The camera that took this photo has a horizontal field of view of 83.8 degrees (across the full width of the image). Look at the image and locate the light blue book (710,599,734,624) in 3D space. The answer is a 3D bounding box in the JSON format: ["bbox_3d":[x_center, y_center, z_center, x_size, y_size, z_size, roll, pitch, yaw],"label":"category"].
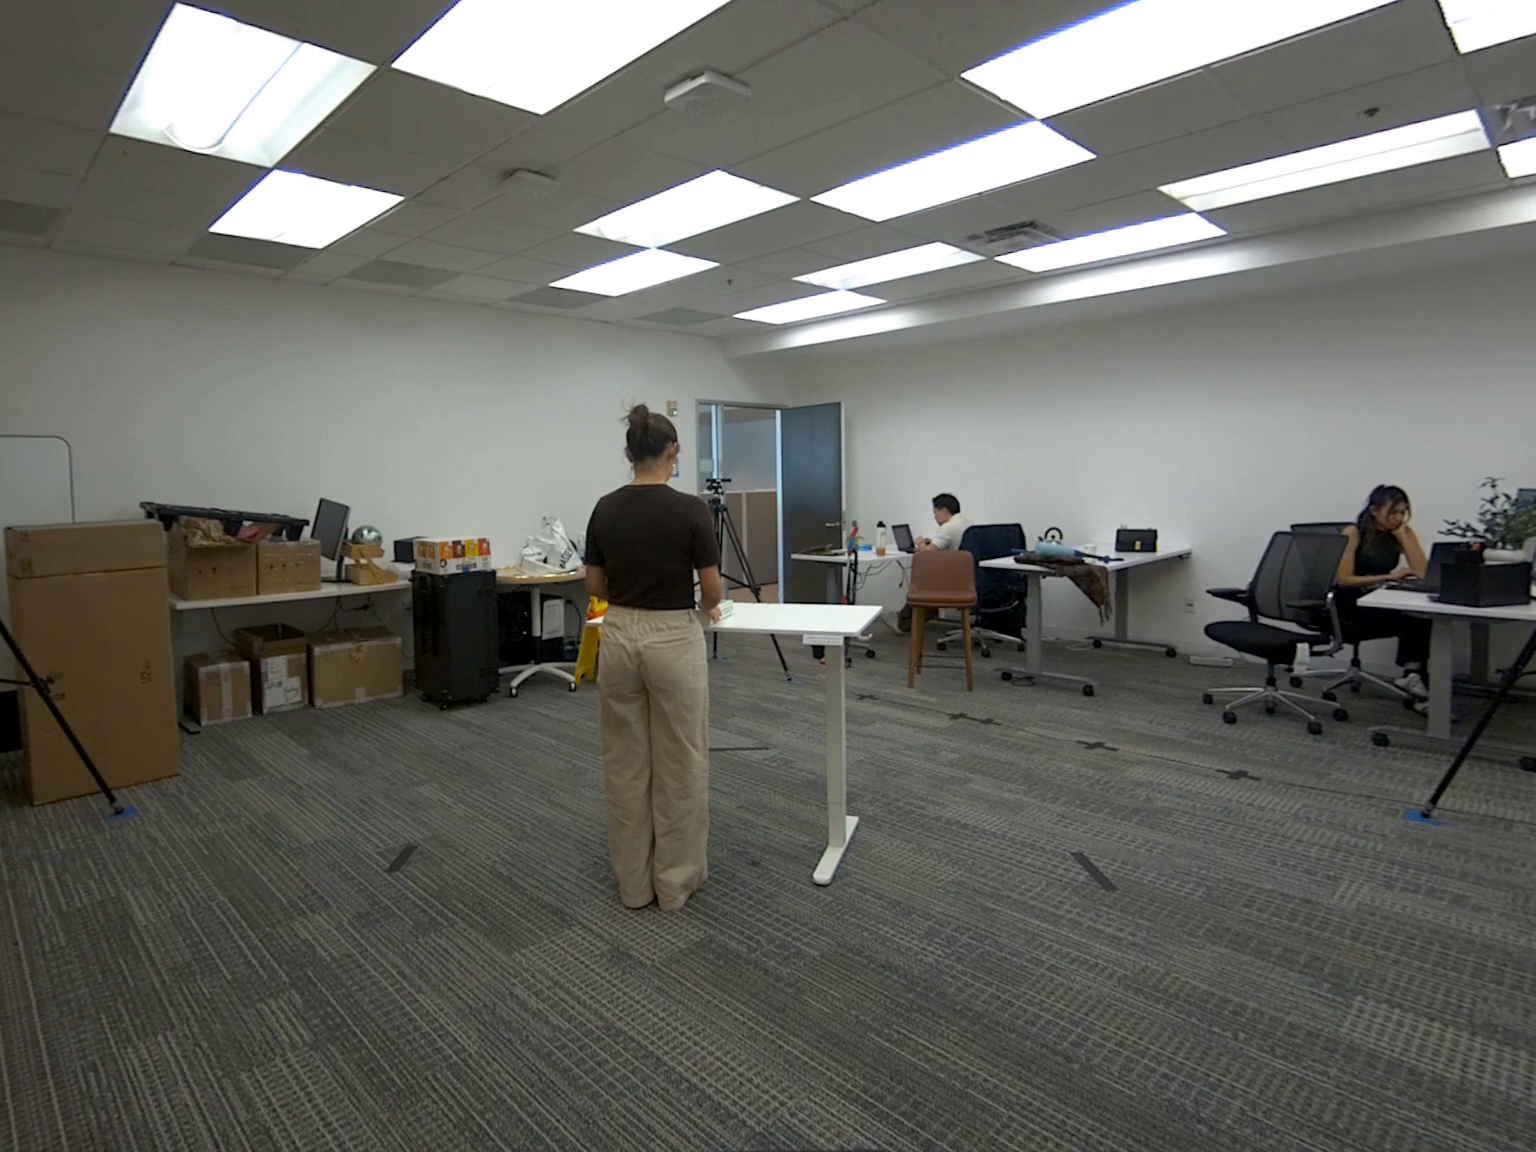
[{"bbox_3d":[-0.250,0.133,3.149,0.194,0.059,0.258,-1,7,15],"label":"light blue book"}]
